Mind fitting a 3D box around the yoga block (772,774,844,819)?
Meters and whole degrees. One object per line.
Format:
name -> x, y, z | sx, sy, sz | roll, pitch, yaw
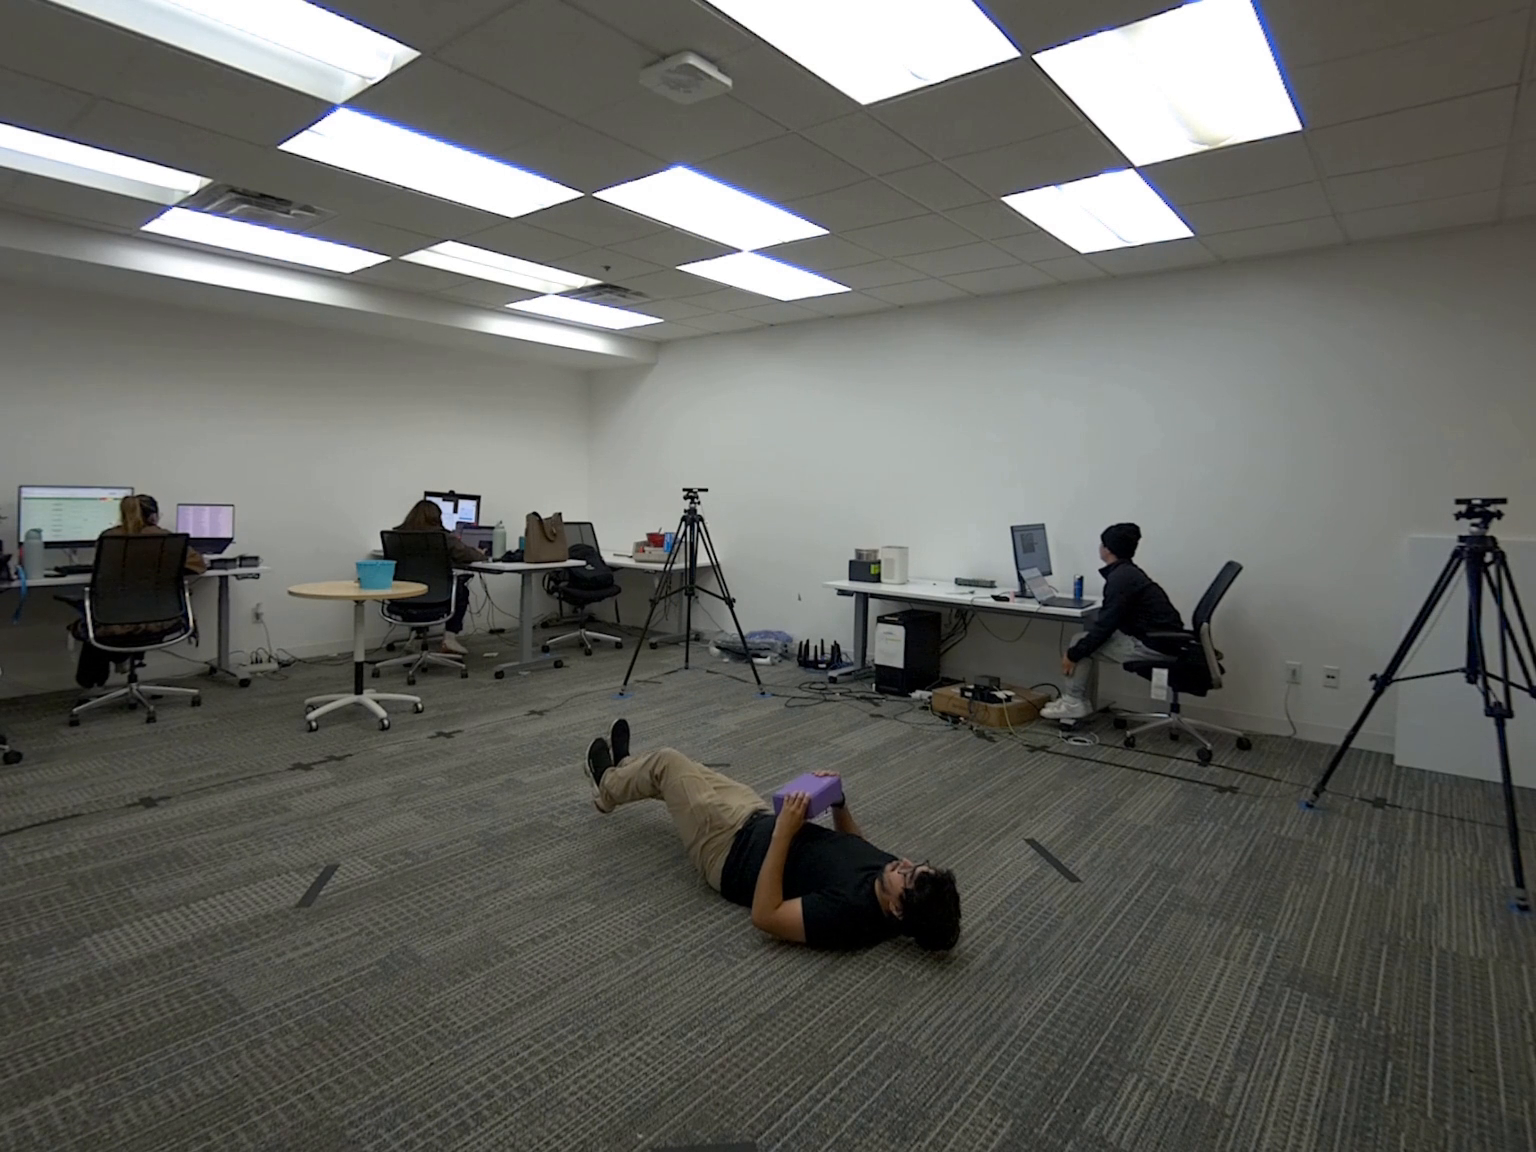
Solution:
yoga block -> 0.130, 0.735, 2.862 | 0.153, 0.076, 0.224 | -3, 5, 32
